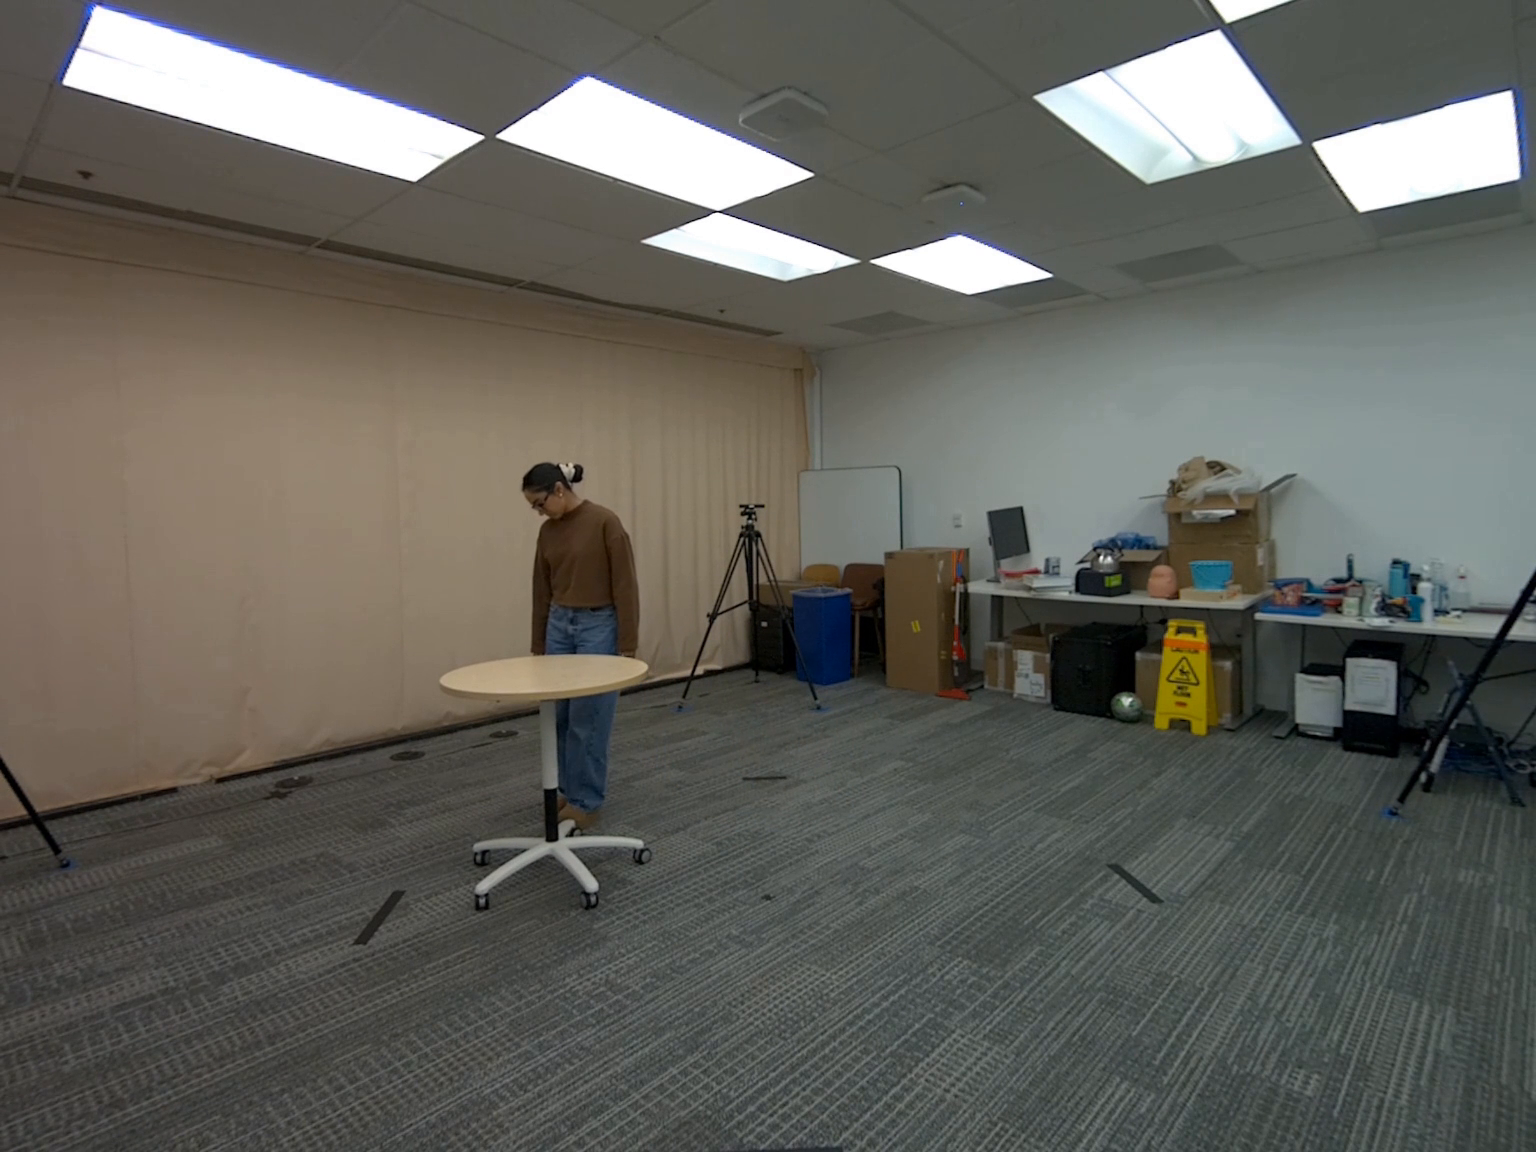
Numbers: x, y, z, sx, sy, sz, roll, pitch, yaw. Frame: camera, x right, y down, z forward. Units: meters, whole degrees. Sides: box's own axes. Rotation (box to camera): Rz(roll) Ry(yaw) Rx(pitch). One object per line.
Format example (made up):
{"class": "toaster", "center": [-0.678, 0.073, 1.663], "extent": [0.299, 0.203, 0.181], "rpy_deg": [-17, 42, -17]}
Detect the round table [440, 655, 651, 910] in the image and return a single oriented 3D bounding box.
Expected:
{"class": "round table", "center": [-0.815, 0.750, 3.179], "extent": [0.763, 0.792, 0.766], "rpy_deg": [-2, 3, -2]}
